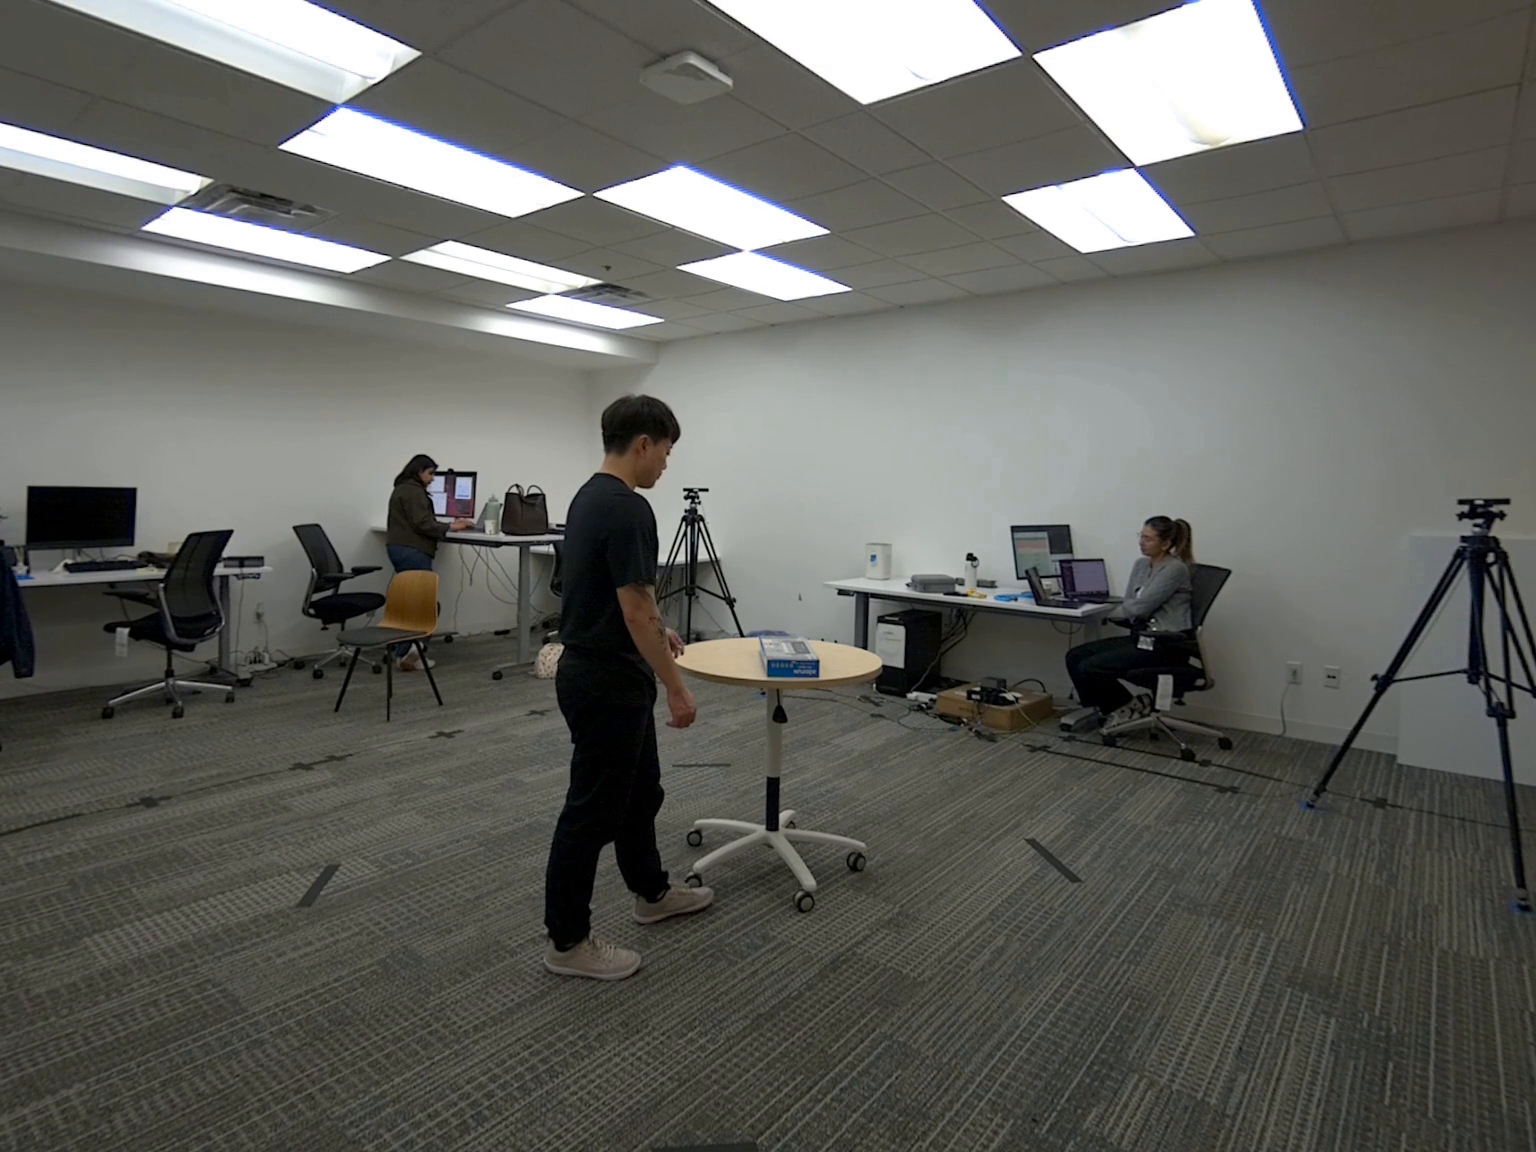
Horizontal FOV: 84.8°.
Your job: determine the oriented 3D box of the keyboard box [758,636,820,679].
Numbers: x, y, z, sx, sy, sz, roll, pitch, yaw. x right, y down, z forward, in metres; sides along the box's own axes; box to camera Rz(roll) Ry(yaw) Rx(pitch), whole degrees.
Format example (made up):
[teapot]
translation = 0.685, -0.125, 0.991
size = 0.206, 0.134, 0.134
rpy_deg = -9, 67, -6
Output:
[keyboard box]
translation = 0.059, 0.274, 2.986
size = 0.175, 0.059, 0.440
rpy_deg = 1, 6, -5
